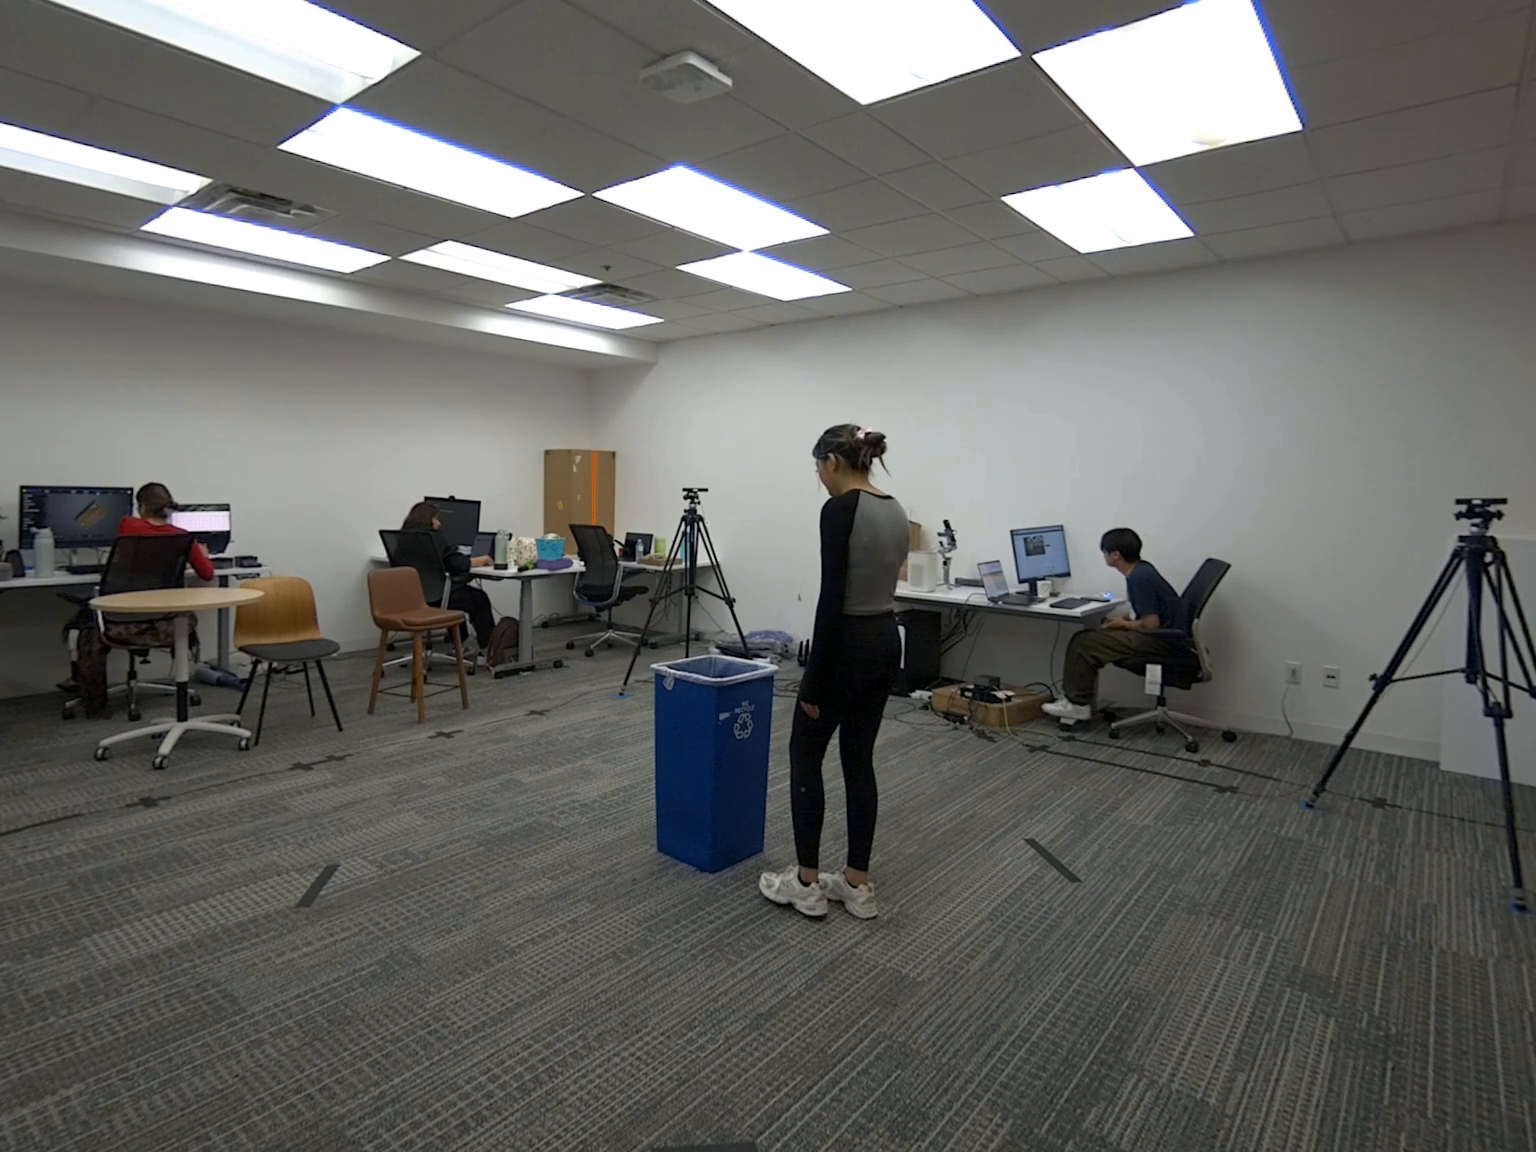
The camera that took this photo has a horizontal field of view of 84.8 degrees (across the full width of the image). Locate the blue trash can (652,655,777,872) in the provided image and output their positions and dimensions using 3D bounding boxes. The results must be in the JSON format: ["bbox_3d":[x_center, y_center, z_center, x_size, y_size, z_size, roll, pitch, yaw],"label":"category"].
[{"bbox_3d":[-0.222,0.696,3.267,0.391,0.711,0.363,4,4,40],"label":"blue trash can"}]
